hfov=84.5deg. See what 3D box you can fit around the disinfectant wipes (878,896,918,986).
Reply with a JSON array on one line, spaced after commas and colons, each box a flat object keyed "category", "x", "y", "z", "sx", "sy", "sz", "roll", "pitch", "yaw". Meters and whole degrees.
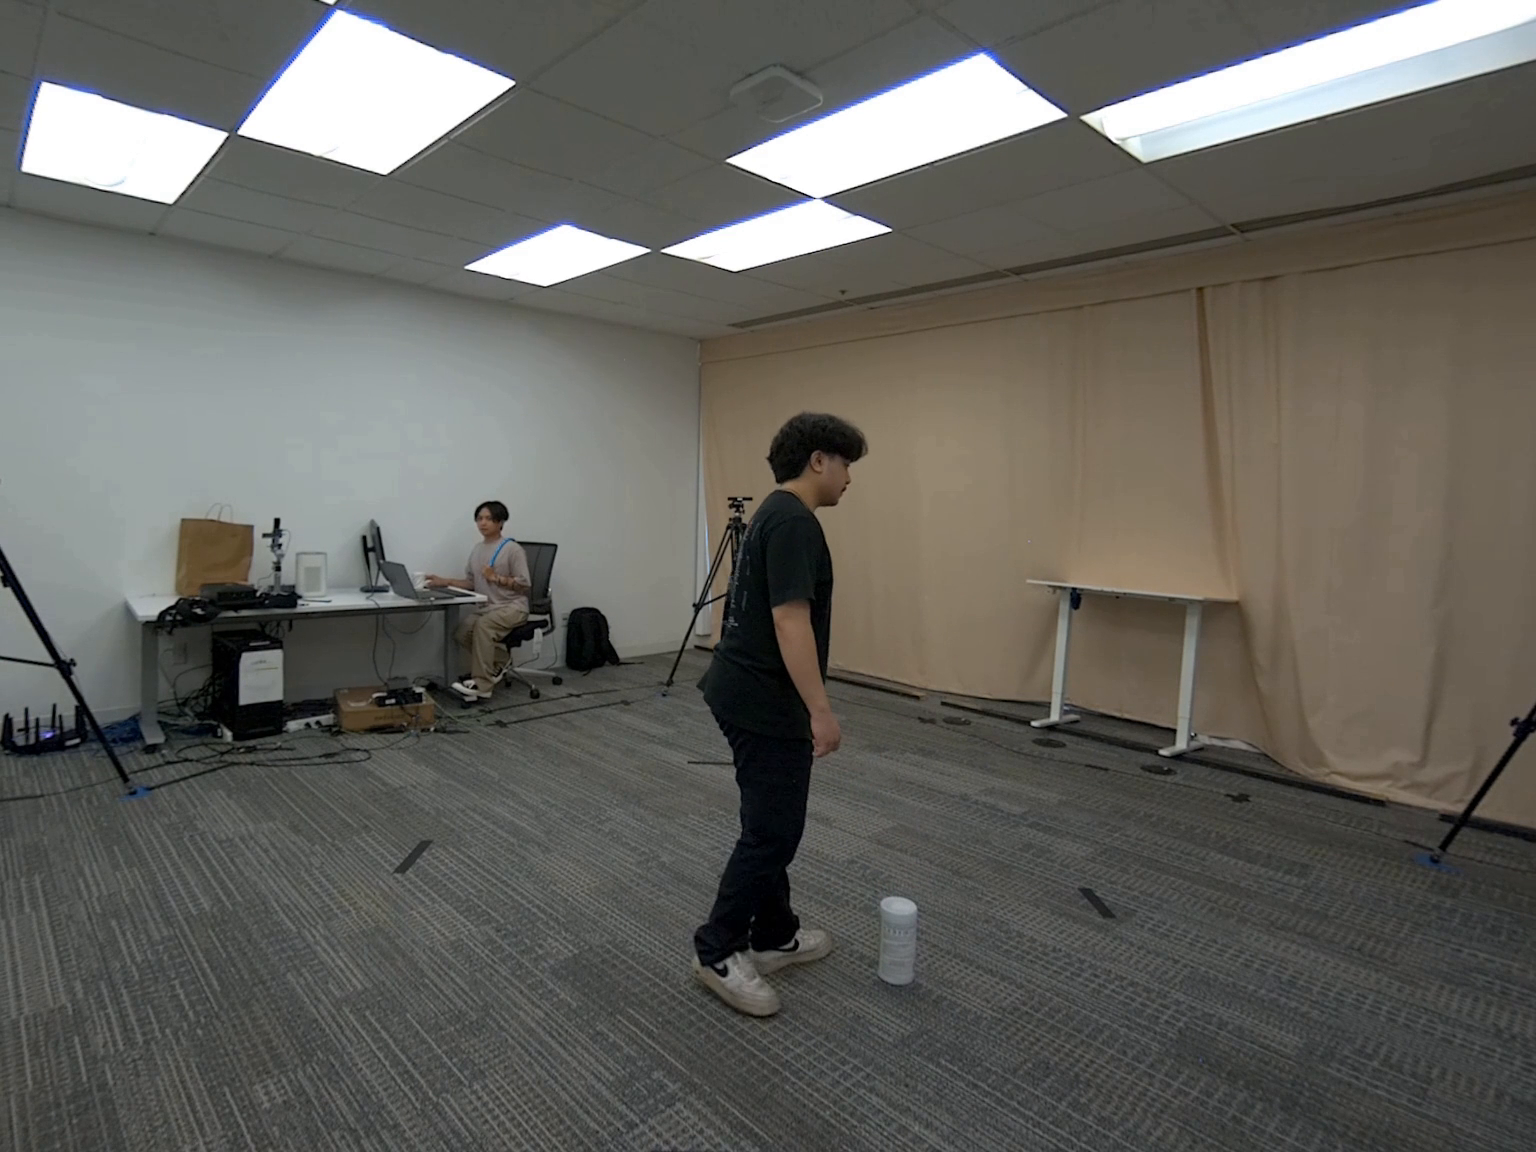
[{"category": "disinfectant wipes", "x": 0.372, "y": 1.079, "z": 2.470, "sx": 0.118, "sy": 0.217, "sz": 0.118, "roll": 2, "pitch": 5, "yaw": -2}]
